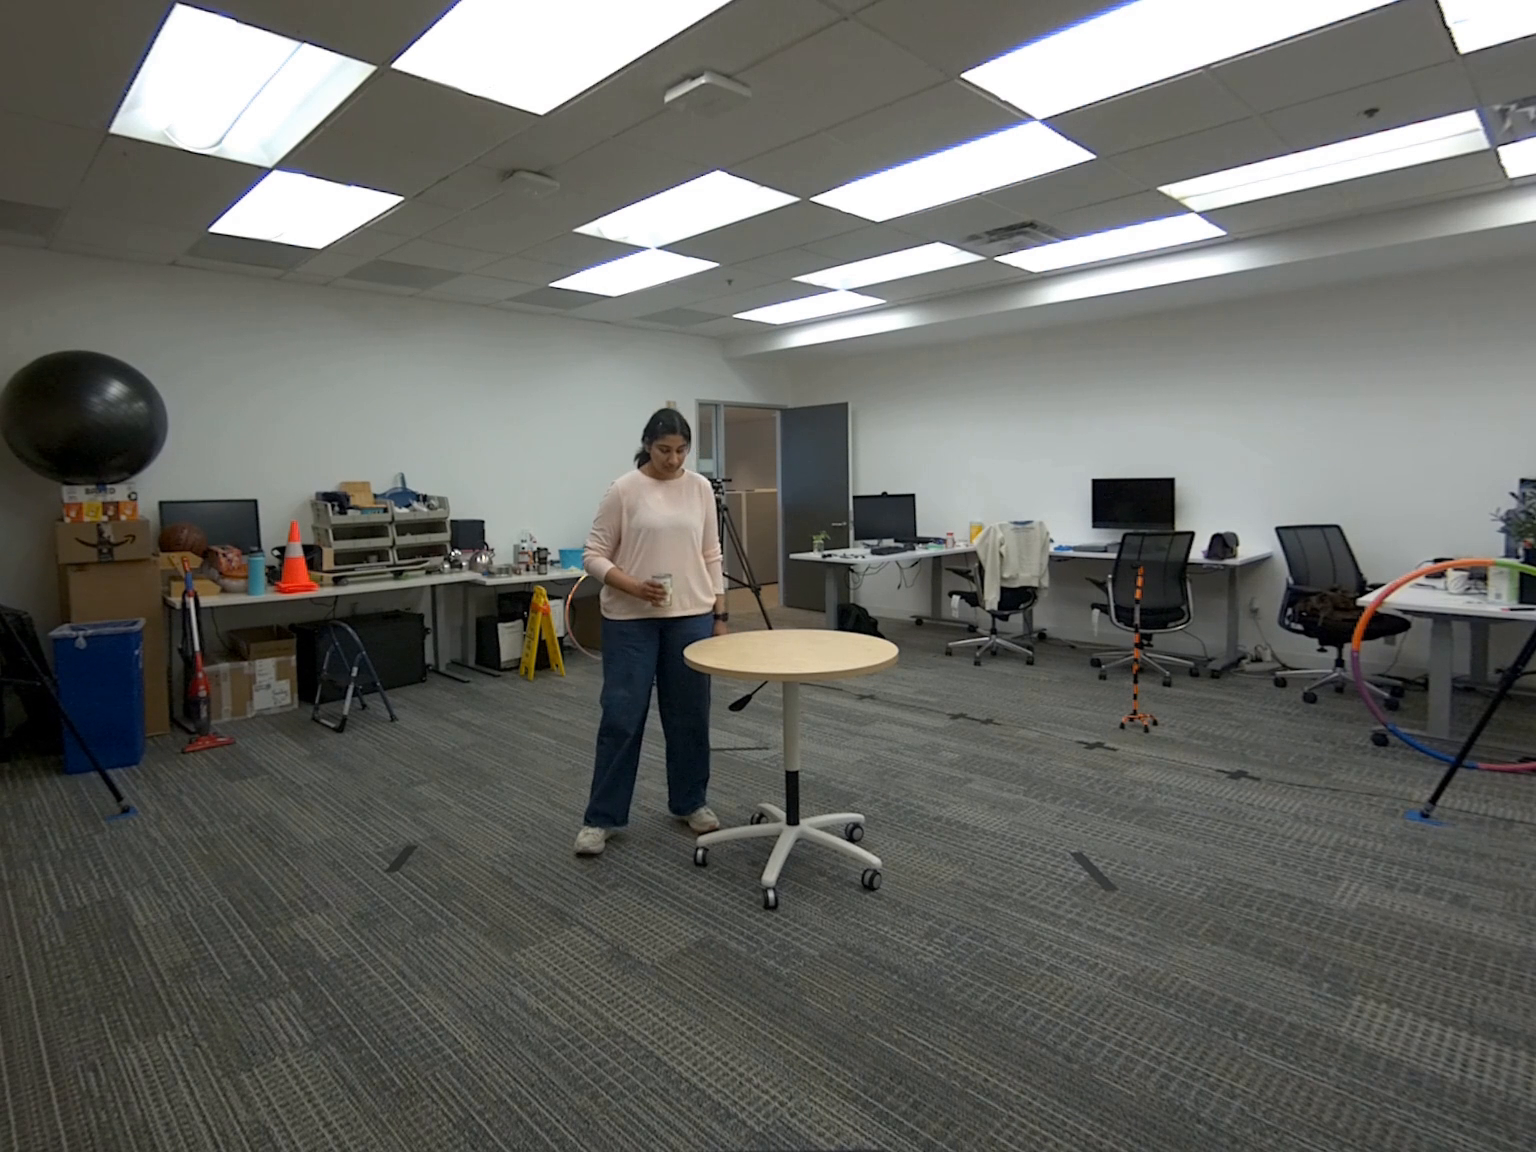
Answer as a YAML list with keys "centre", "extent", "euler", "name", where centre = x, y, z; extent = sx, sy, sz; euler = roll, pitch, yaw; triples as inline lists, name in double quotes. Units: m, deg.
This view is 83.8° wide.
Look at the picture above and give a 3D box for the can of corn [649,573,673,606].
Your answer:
- centre: [-0.401, 0.054, 3.112]
  extent: [0.074, 0.110, 0.075]
  euler: [-3, 10, -1]
  name: "can of corn"
